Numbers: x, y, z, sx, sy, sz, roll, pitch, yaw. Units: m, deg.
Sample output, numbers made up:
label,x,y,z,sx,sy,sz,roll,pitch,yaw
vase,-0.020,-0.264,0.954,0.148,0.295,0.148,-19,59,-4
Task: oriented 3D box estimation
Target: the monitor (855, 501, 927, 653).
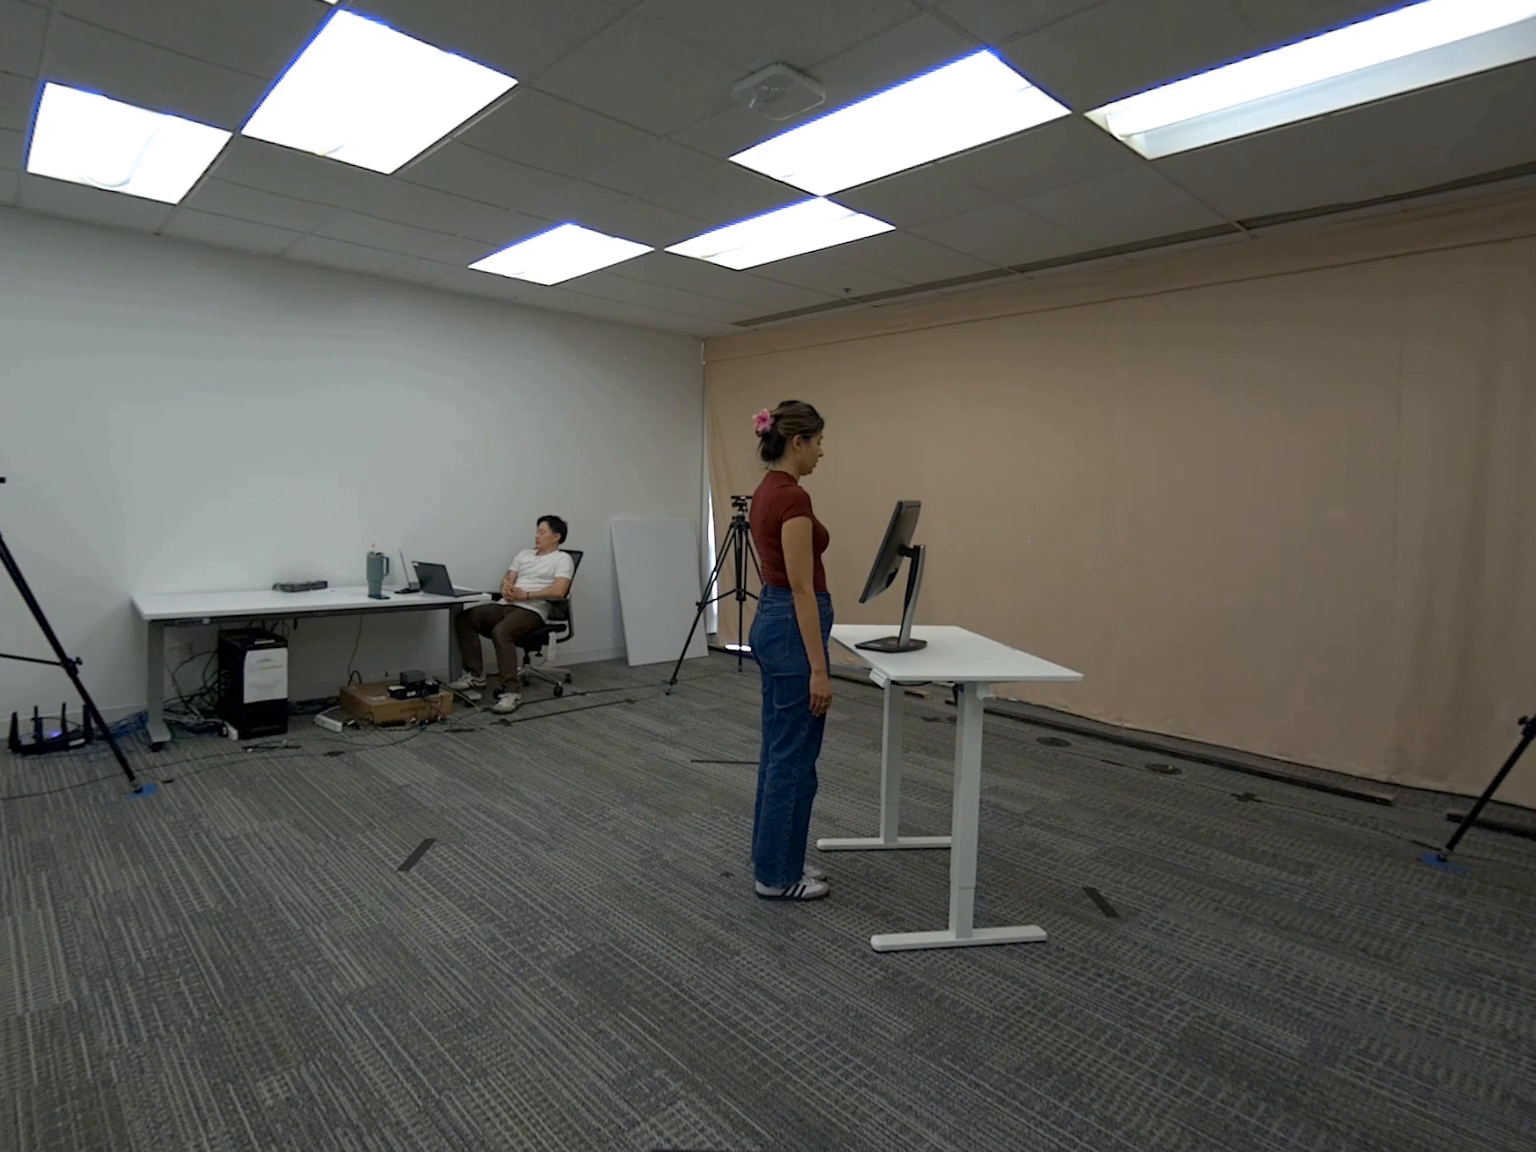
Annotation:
label,x,y,z,sx,sy,sz,roll,pitch,yaw
monitor,0.453,-0.002,2.925,0.190,0.520,0.534,6,6,15
